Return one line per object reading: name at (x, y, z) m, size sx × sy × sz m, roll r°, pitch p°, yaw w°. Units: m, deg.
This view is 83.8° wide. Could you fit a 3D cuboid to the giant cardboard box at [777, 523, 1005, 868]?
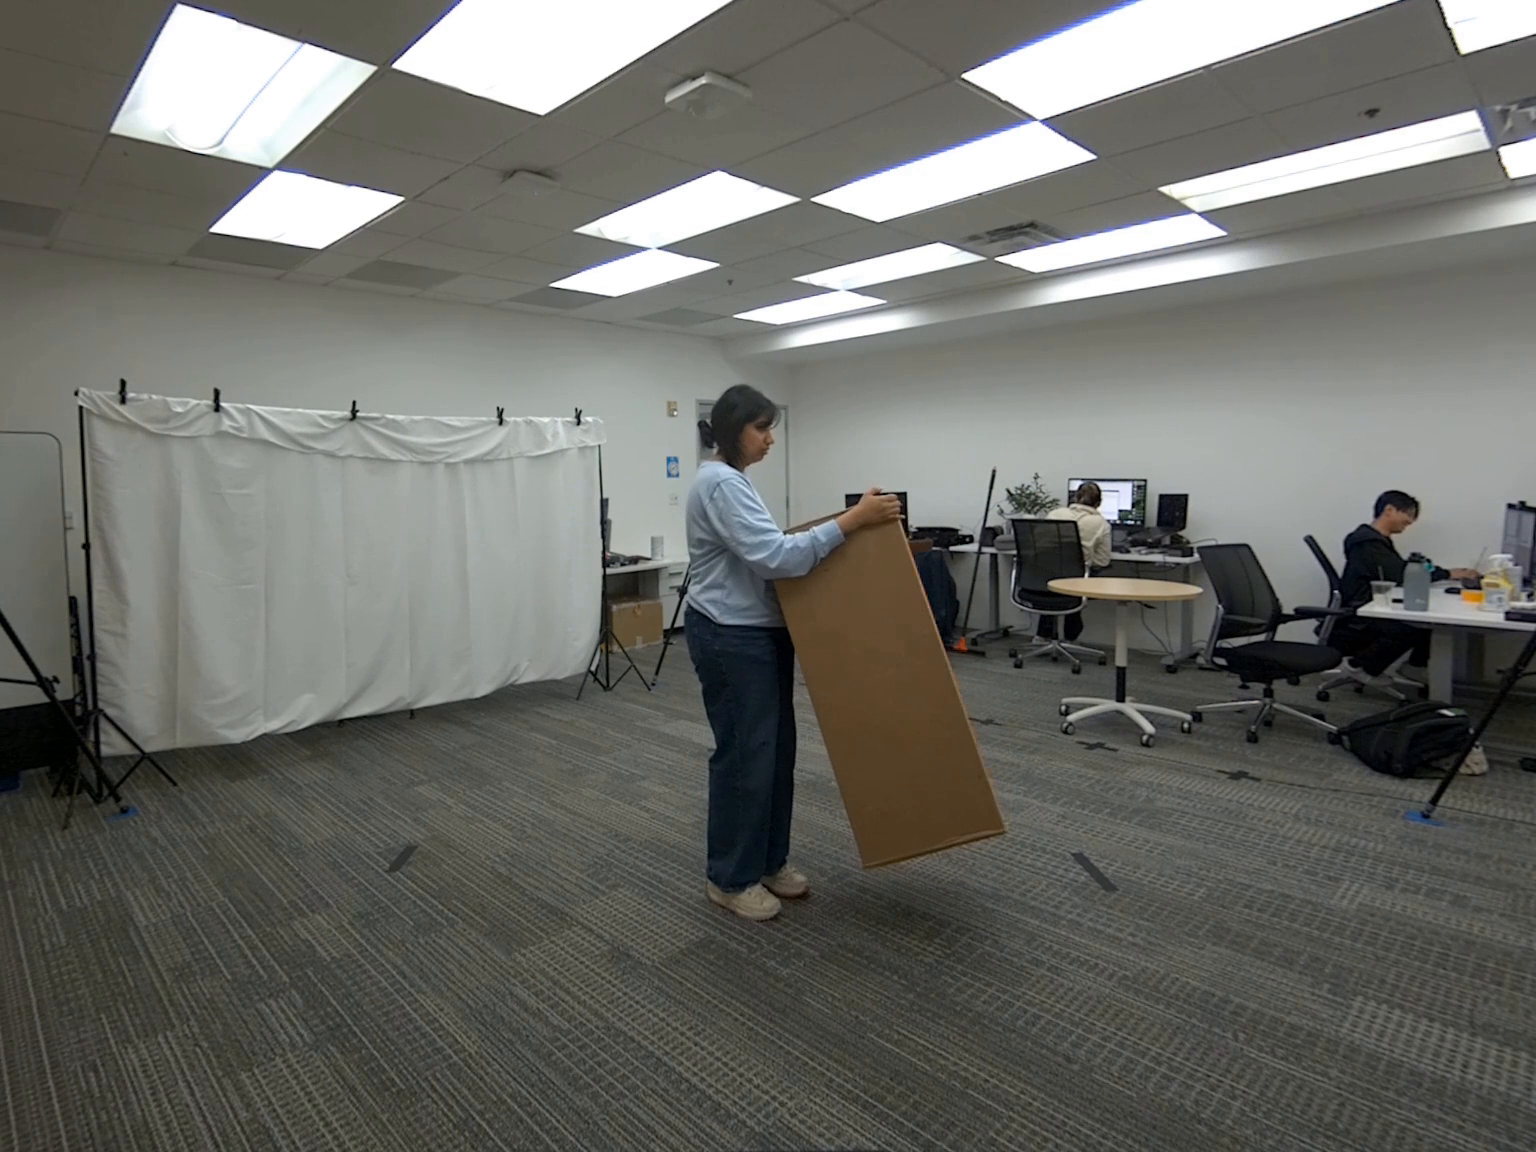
giant cardboard box at (0.372, 0.322, 2.800) m, size 0.450 × 1.036 × 0.575 m, roll -18°, pitch -7°, yaw 10°
